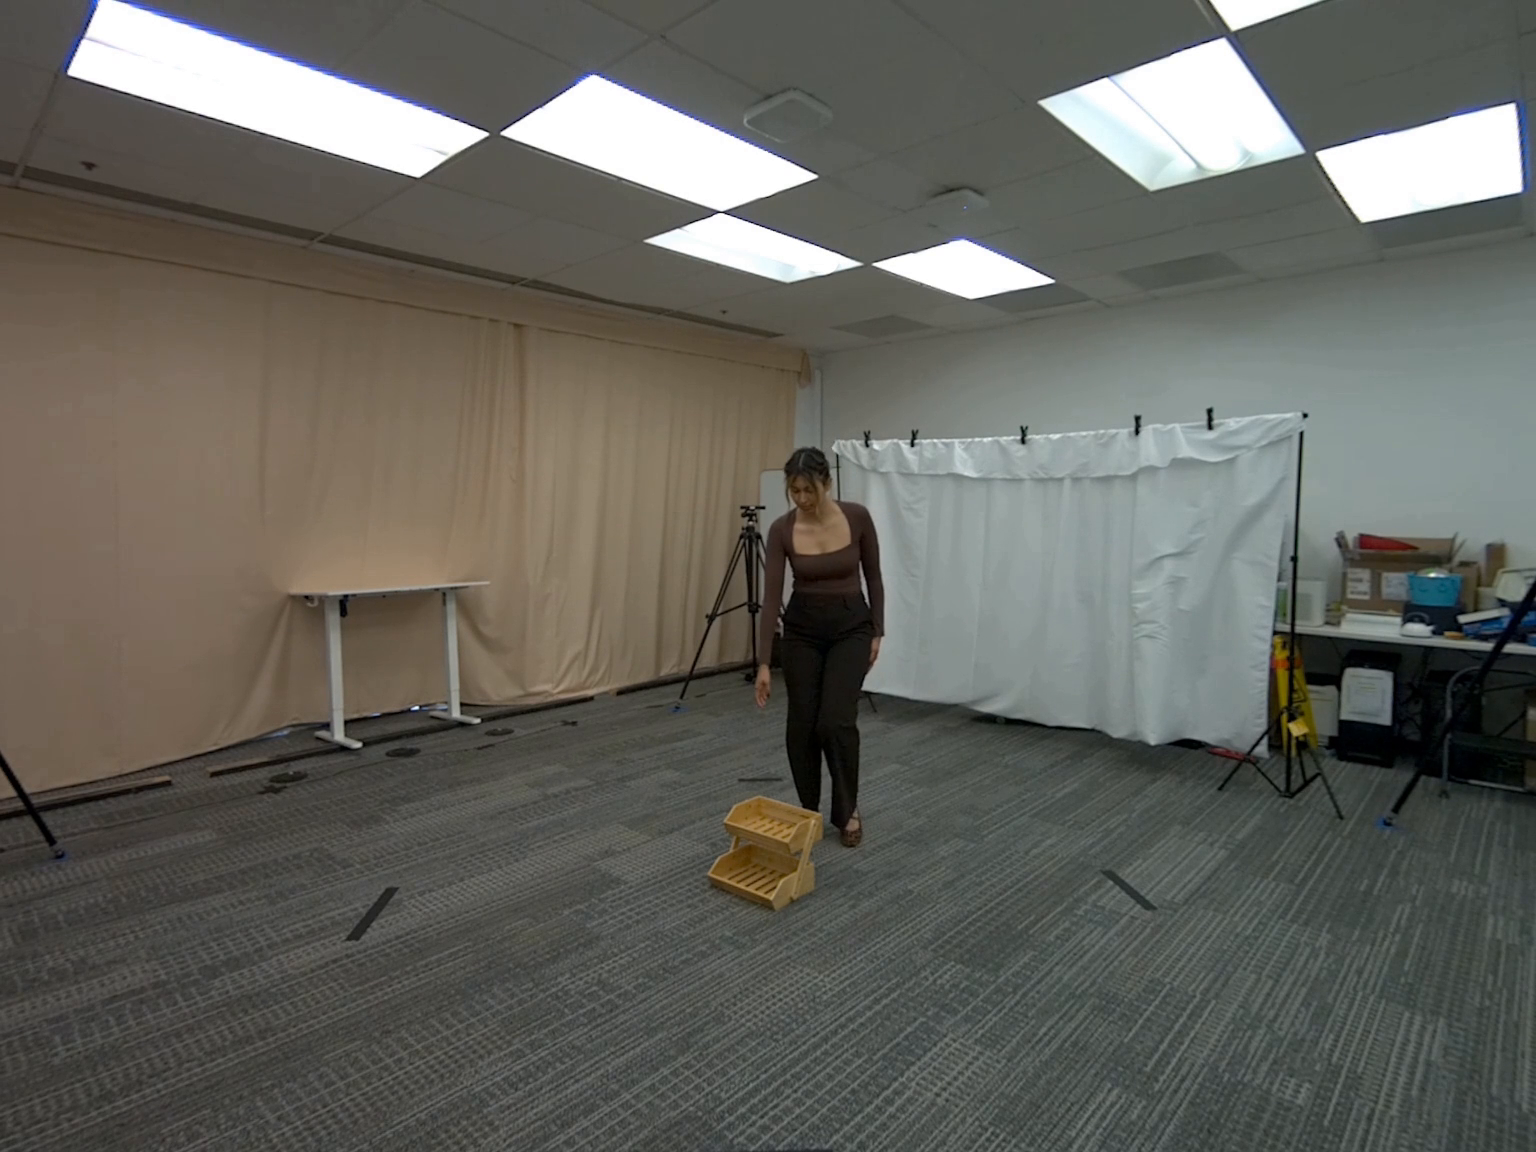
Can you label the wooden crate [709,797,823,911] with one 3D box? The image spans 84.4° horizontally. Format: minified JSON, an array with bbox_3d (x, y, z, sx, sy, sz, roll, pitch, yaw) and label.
[{"bbox_3d":[-0.009,1.001,3.083,0.335,0.273,0.293,3,5,40],"label":"wooden crate"}]
